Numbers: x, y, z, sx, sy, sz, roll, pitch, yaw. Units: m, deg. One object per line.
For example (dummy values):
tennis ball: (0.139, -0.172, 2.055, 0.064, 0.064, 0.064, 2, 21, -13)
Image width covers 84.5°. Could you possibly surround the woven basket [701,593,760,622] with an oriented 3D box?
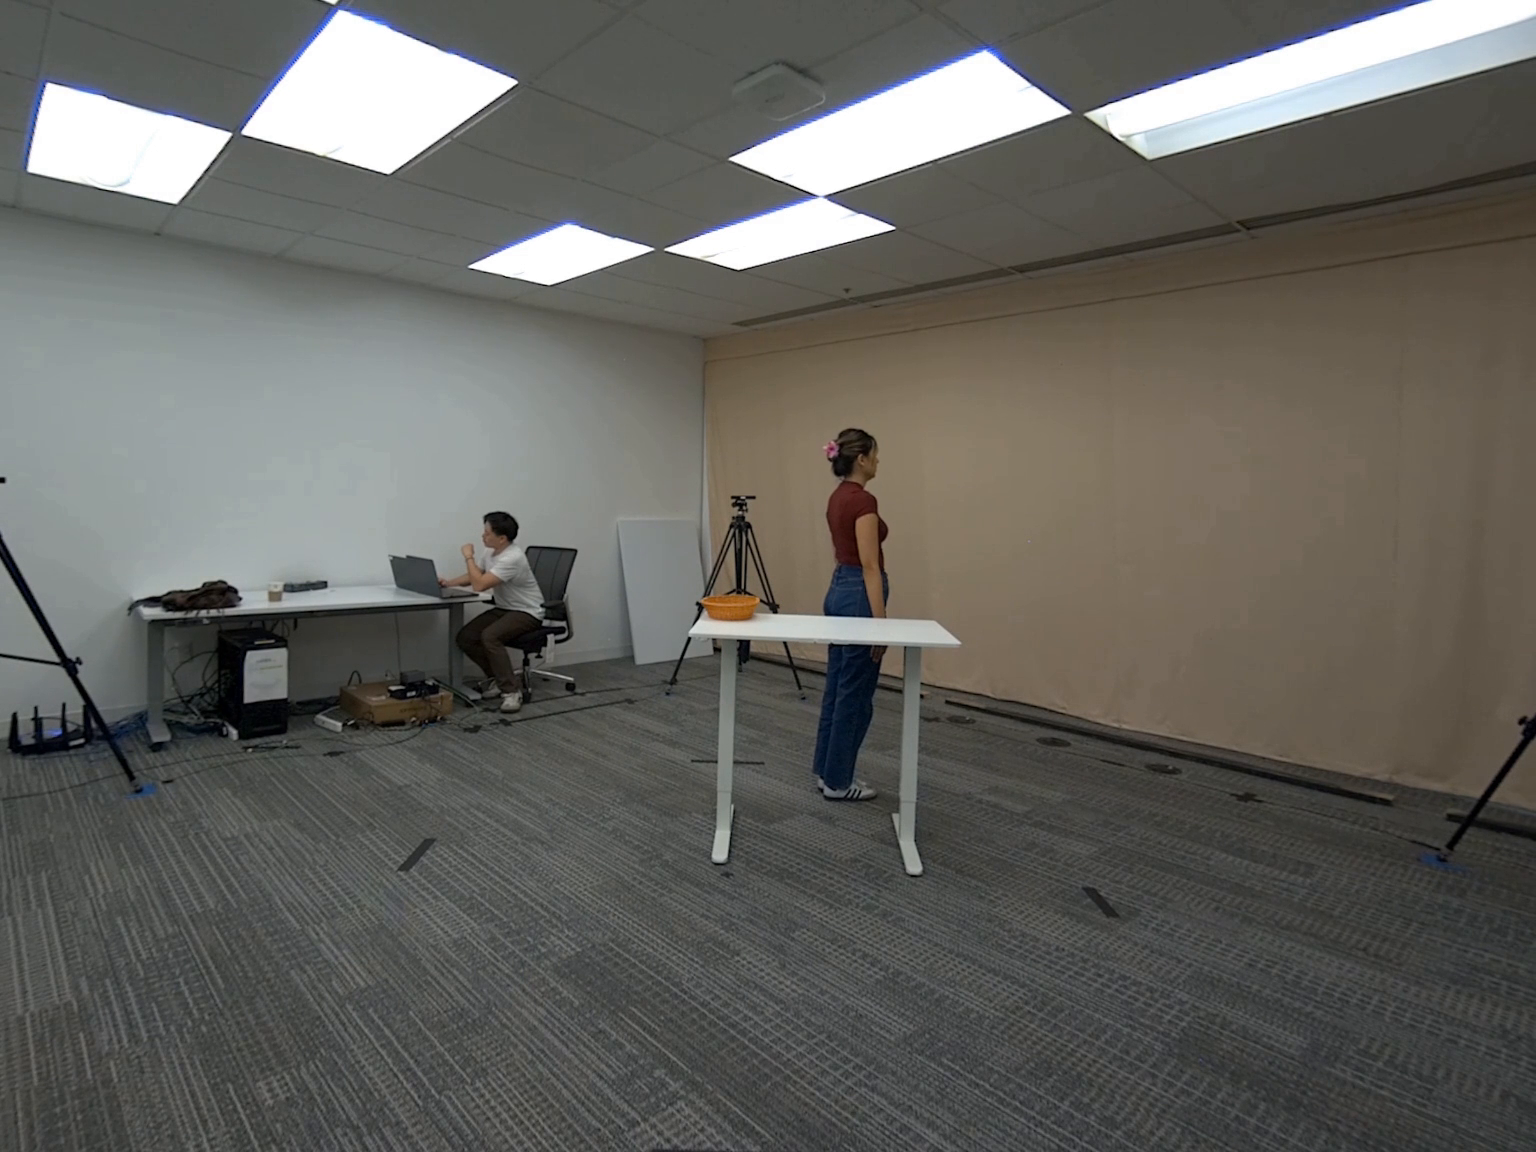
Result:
woven basket: (-0.164, 0.140, 3.611, 0.255, 0.073, 0.347, 2, 5, 14)
